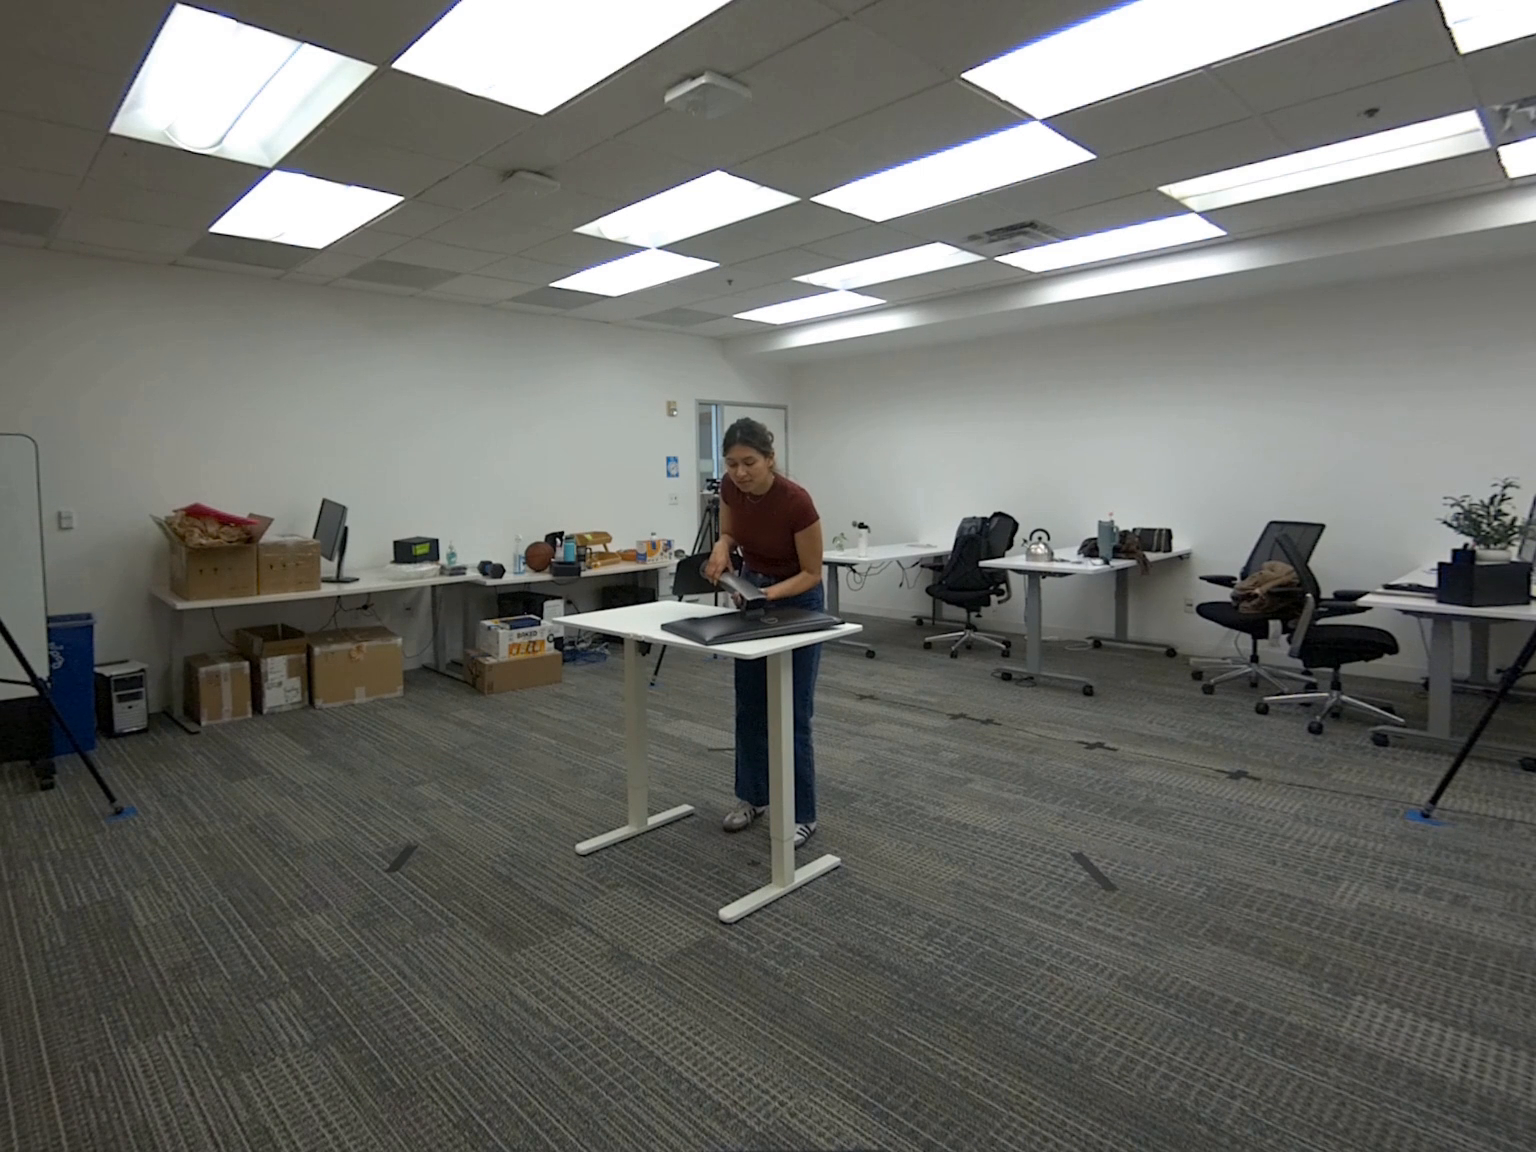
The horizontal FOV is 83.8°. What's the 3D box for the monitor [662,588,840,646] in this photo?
[{"bbox_3d":[-0.100,0.094,2.992,0.528,0.184,0.542,-7,26,-28],"label":"monitor"}]
